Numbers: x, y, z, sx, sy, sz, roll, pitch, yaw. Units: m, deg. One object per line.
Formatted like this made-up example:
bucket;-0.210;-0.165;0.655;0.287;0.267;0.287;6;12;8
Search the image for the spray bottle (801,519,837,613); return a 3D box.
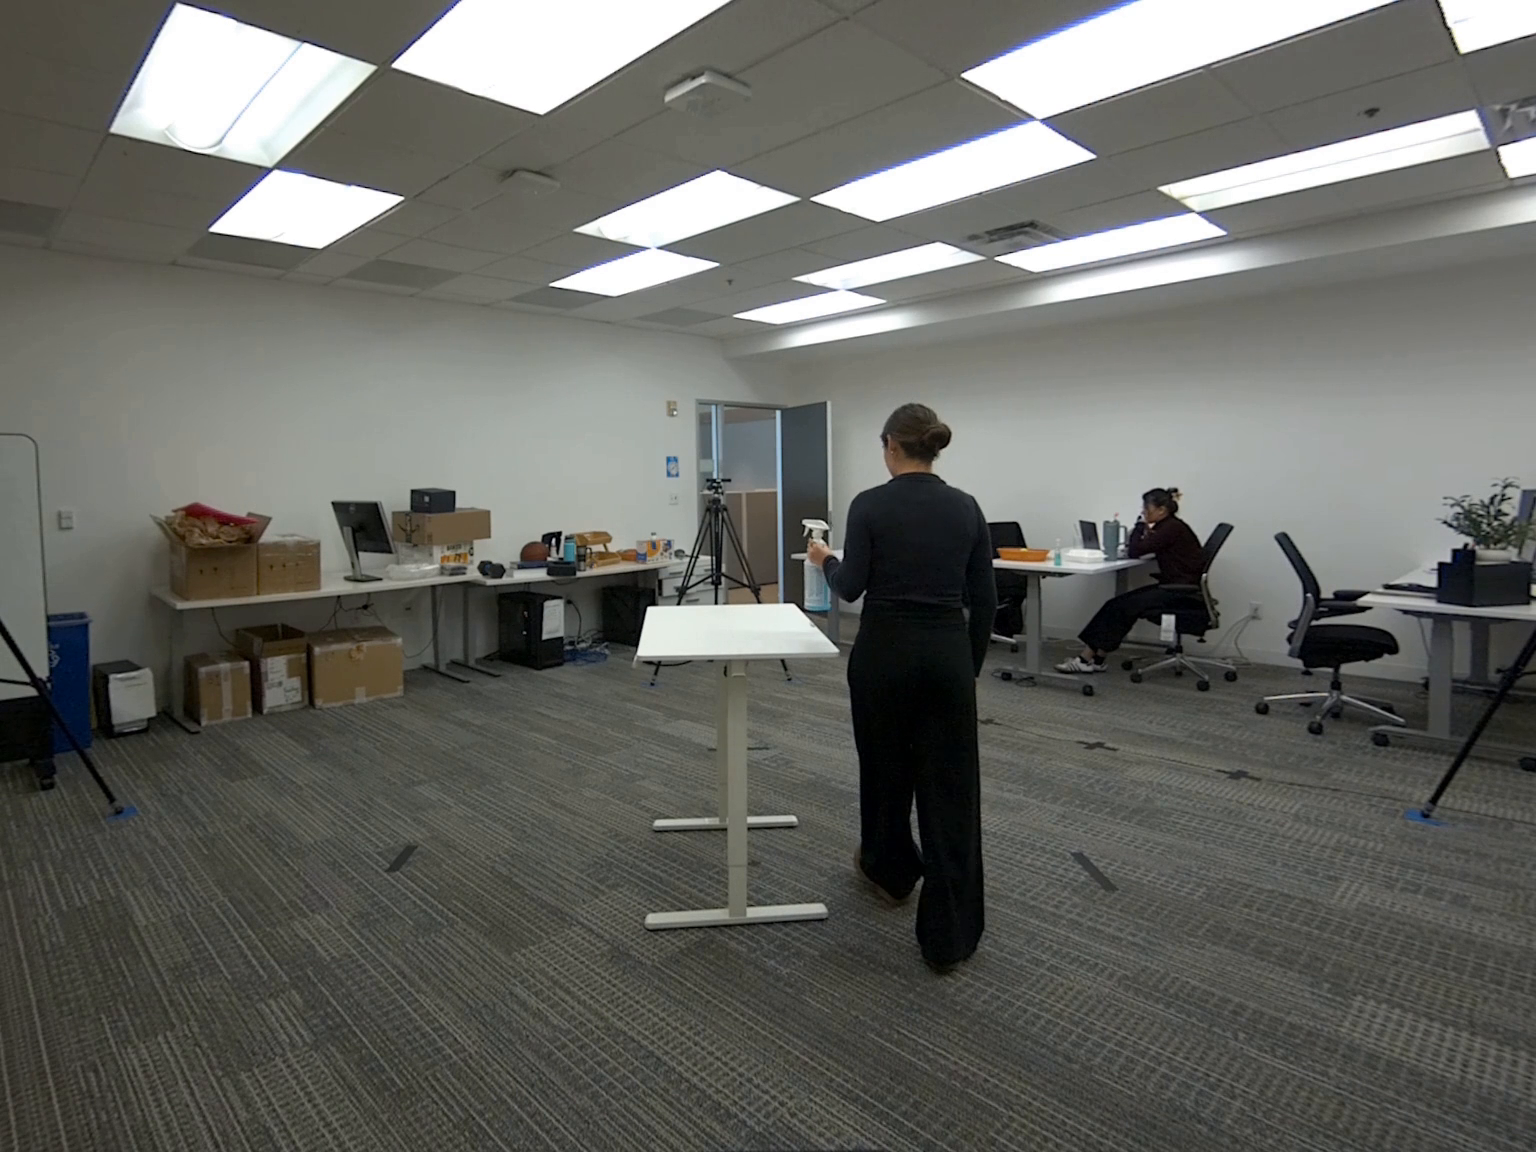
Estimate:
spray bottle;0.169;-0.038;2.834;0.085;0.297;0.092;-4;3;-41
